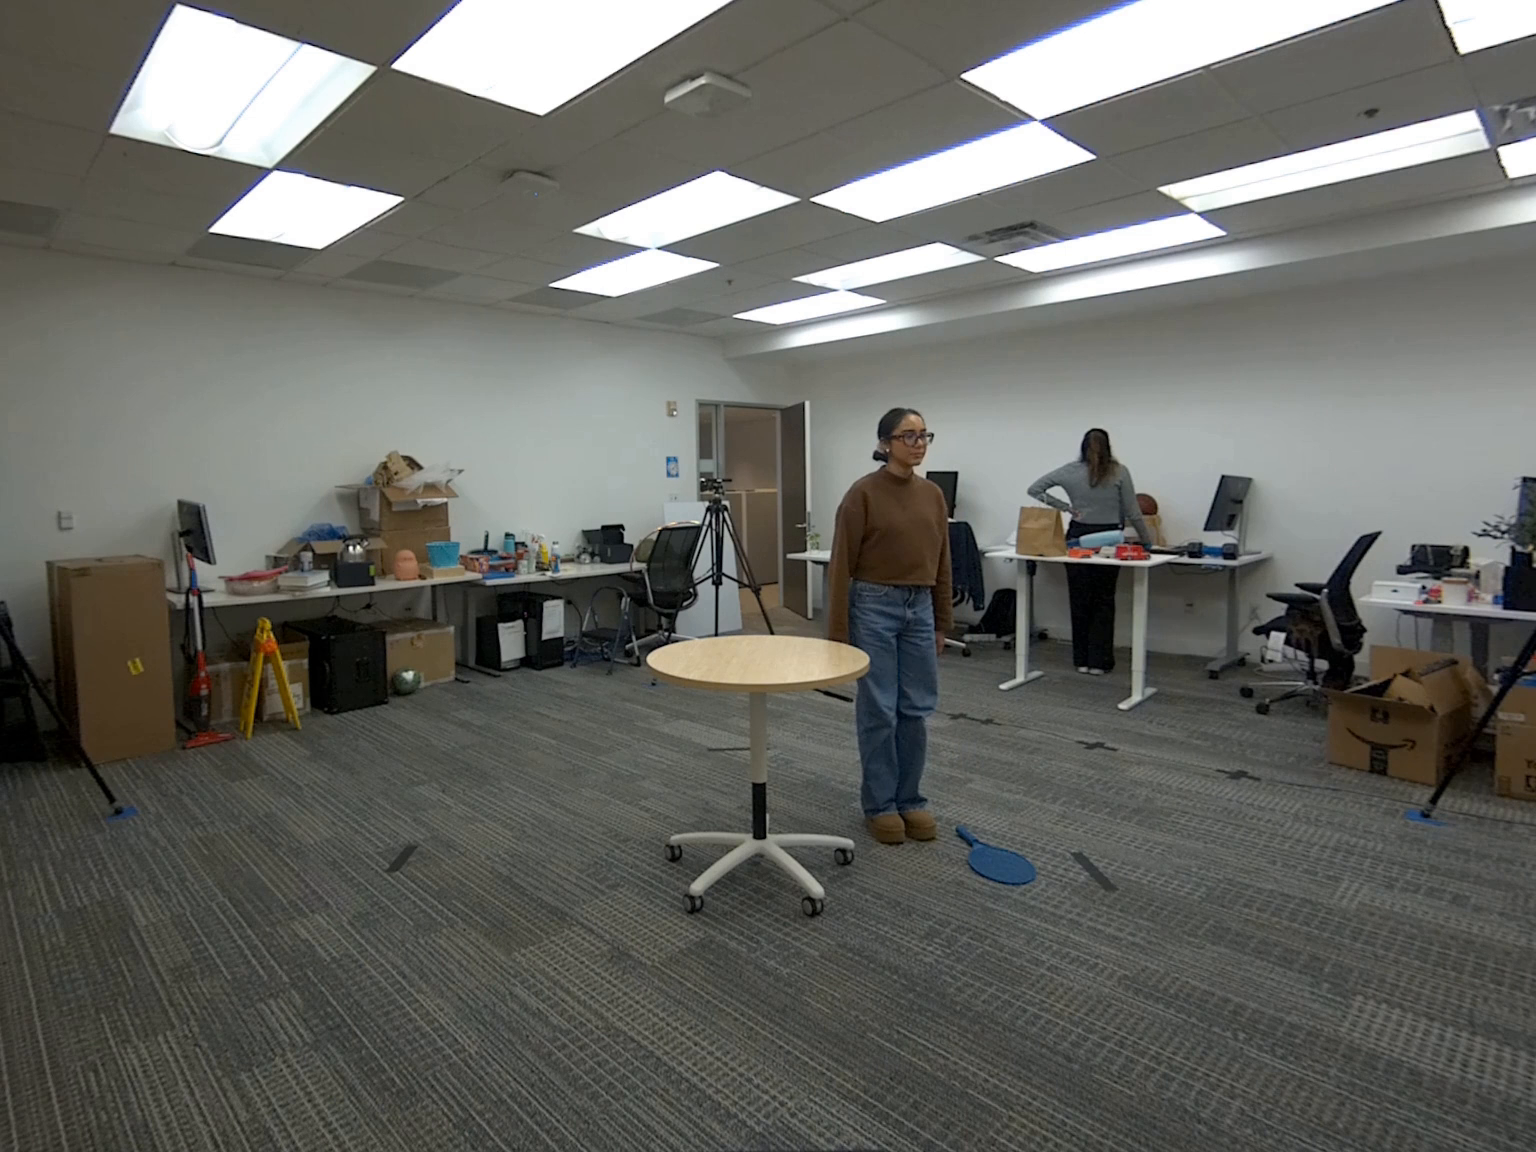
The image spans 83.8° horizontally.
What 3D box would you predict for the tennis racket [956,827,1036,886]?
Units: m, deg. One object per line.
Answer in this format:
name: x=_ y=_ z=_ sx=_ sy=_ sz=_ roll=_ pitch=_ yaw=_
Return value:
tennis racket: x=0.797 y=1.008 z=3.117 sx=0.210 sy=0.031 sz=0.442 roll=-3 pitch=8 yaw=-17
